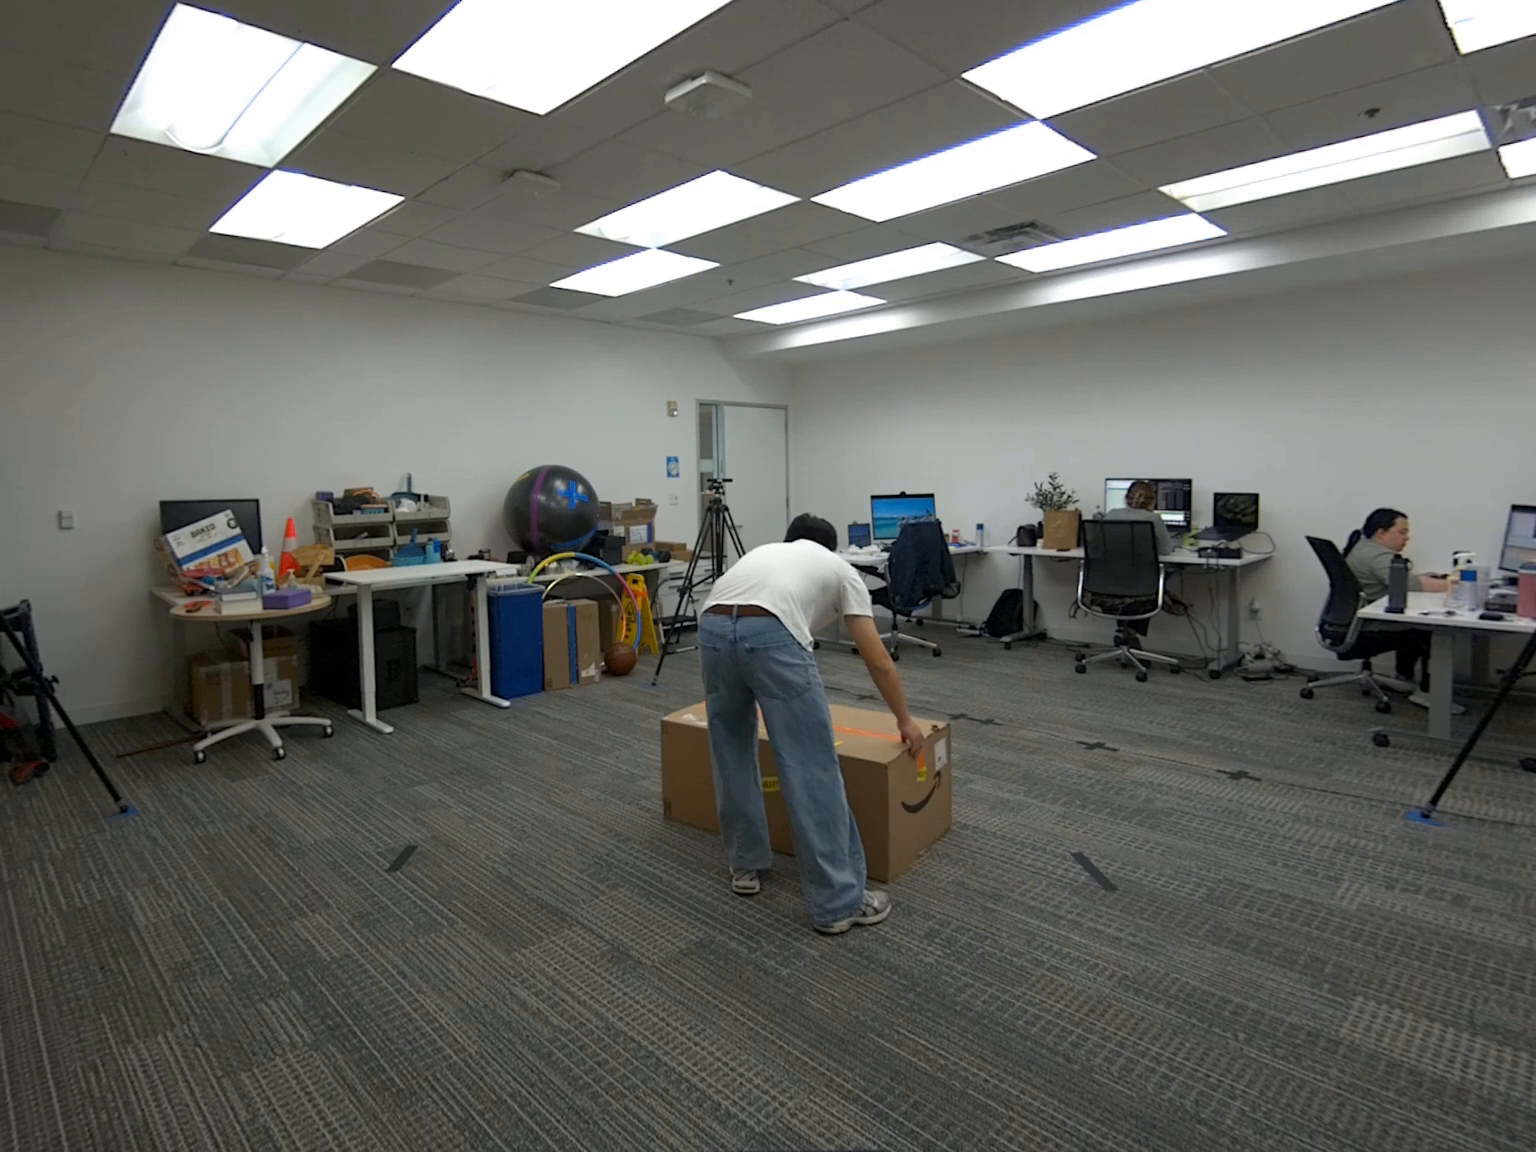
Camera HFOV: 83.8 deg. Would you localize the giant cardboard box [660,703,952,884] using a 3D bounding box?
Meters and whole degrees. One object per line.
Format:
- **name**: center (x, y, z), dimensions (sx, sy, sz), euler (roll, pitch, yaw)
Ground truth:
- **giant cardboard box**: center (0.145, 0.789, 3.446), dimensions (1.055, 0.424, 0.564), euler (3, 8, 35)
